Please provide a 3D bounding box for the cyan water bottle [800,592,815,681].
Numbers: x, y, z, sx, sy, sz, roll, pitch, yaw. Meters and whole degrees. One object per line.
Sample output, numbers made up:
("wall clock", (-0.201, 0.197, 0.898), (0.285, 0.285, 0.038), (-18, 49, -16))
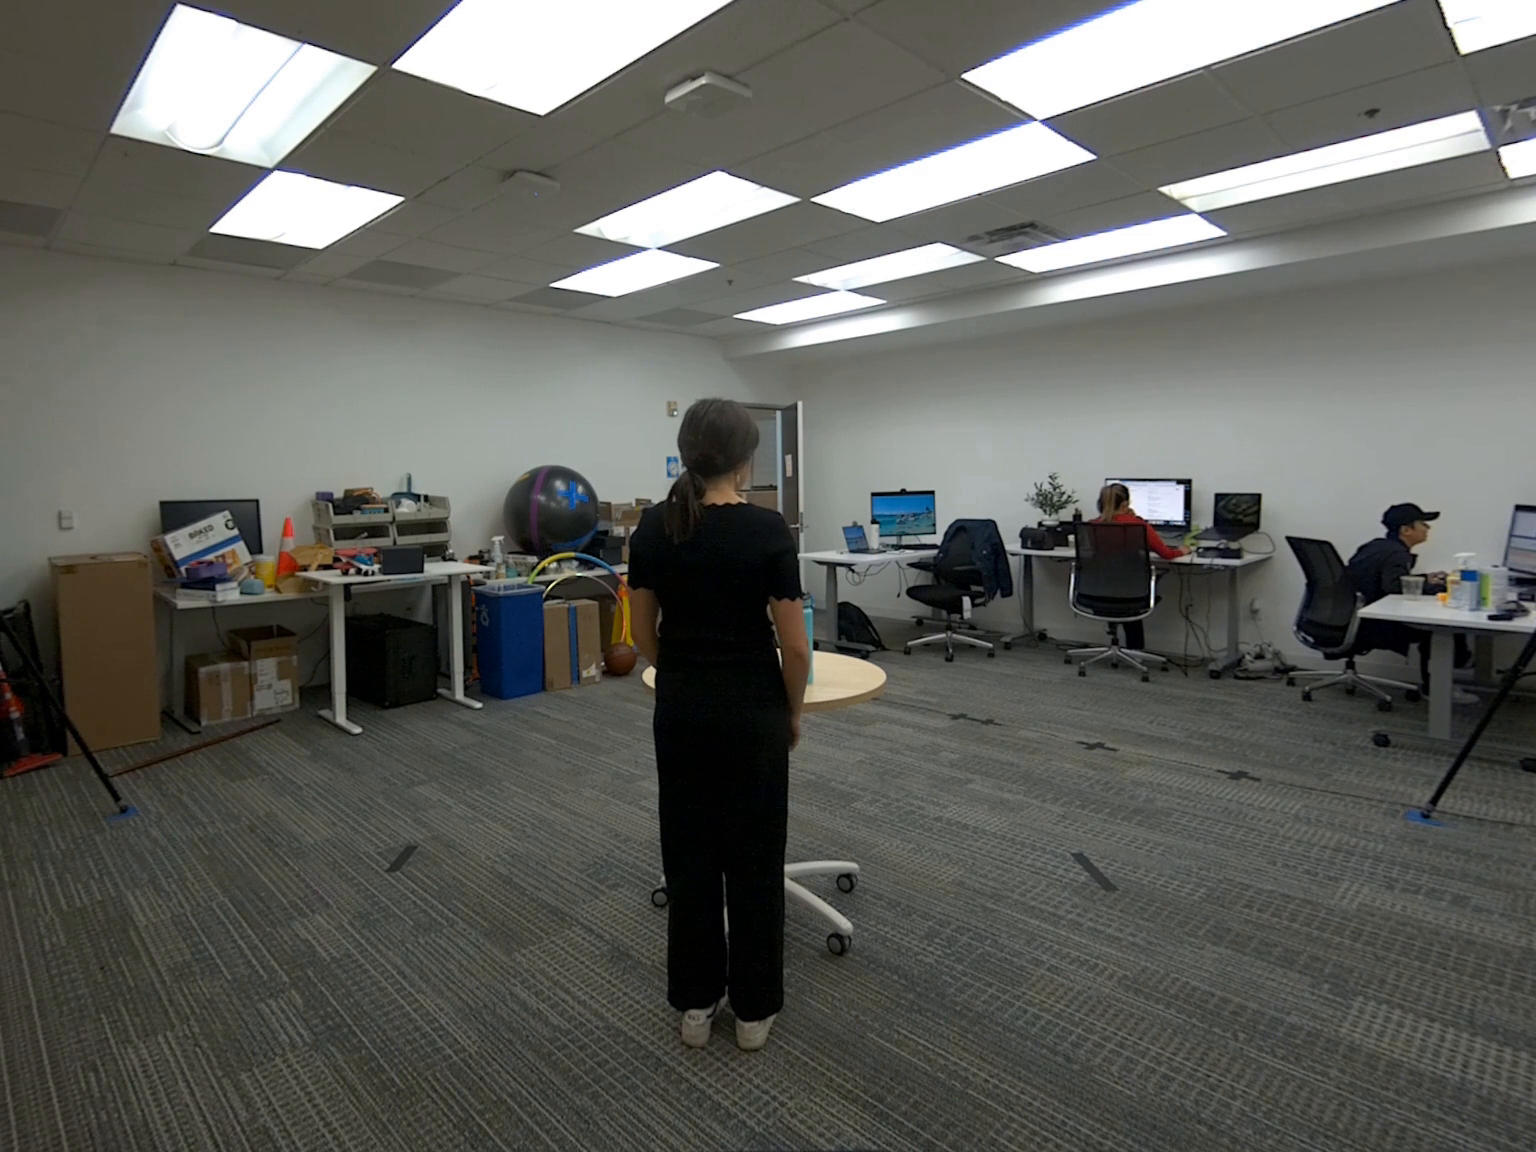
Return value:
("cyan water bottle", (0.099, 0.182, 2.566), (0.092, 0.283, 0.092), (-2, 2, -2))
